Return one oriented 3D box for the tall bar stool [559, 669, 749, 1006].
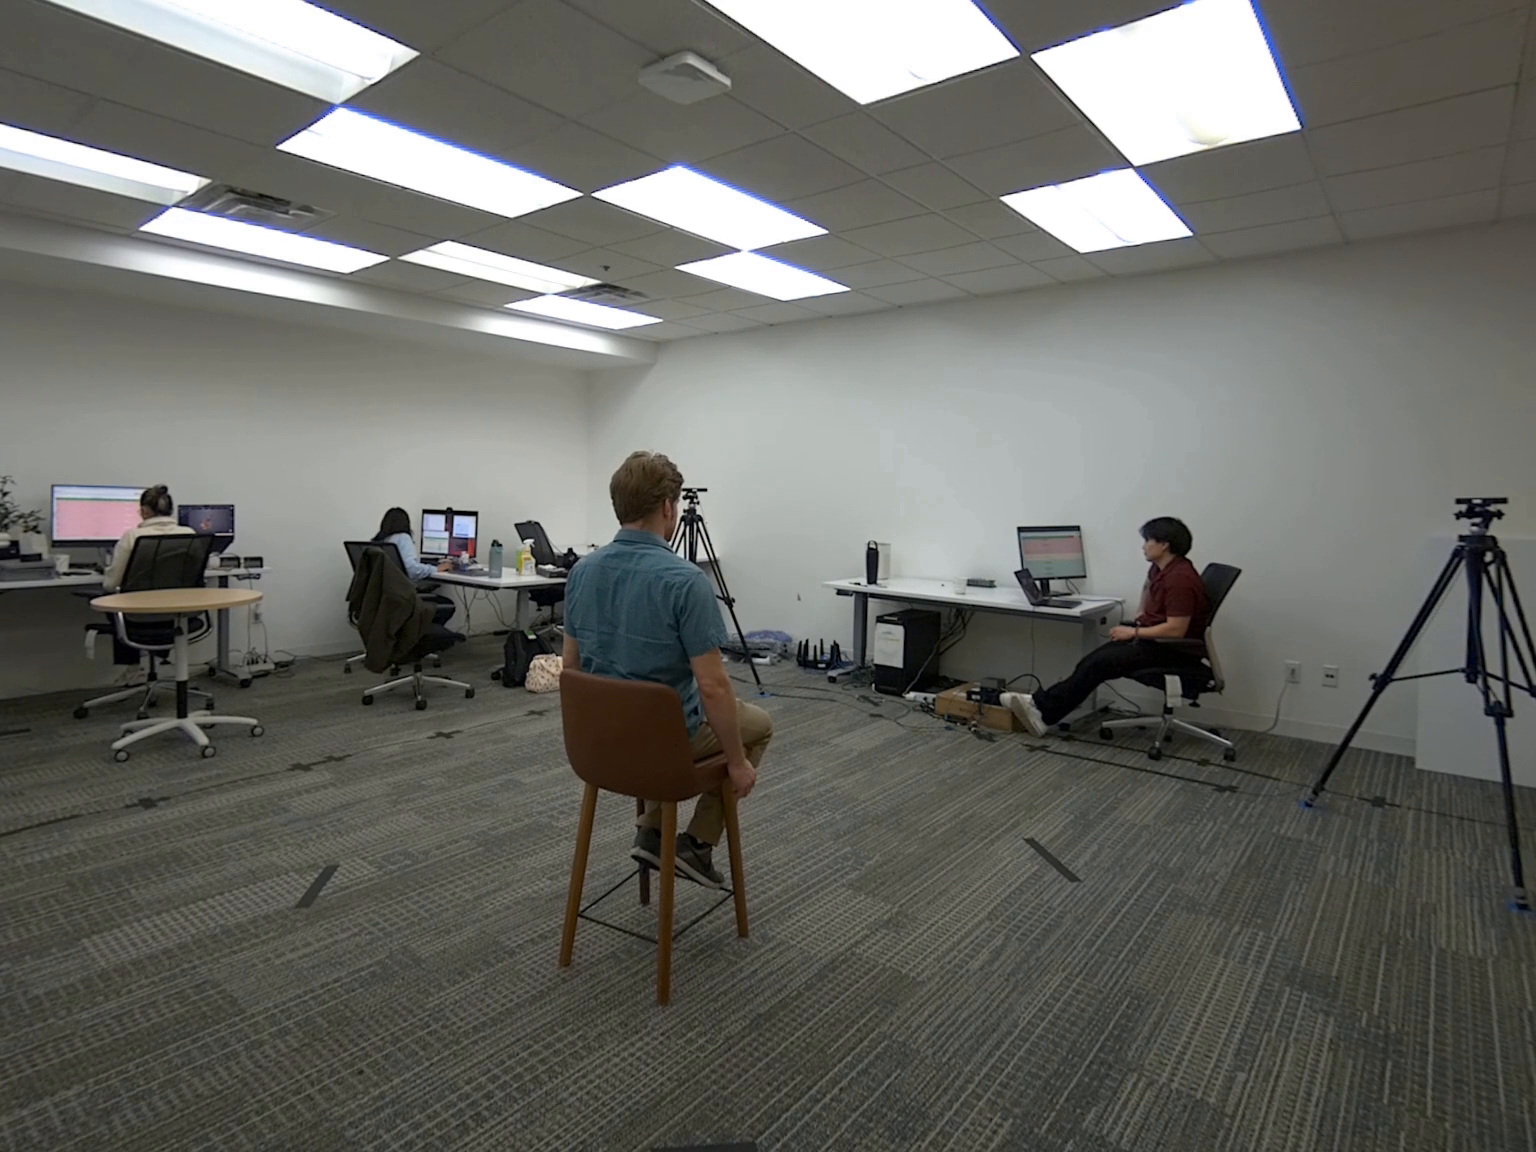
[{"bbox_3d":[-0.350,0.689,2.541,0.470,0.886,0.456,2,5,30],"label":"tall bar stool"}]
